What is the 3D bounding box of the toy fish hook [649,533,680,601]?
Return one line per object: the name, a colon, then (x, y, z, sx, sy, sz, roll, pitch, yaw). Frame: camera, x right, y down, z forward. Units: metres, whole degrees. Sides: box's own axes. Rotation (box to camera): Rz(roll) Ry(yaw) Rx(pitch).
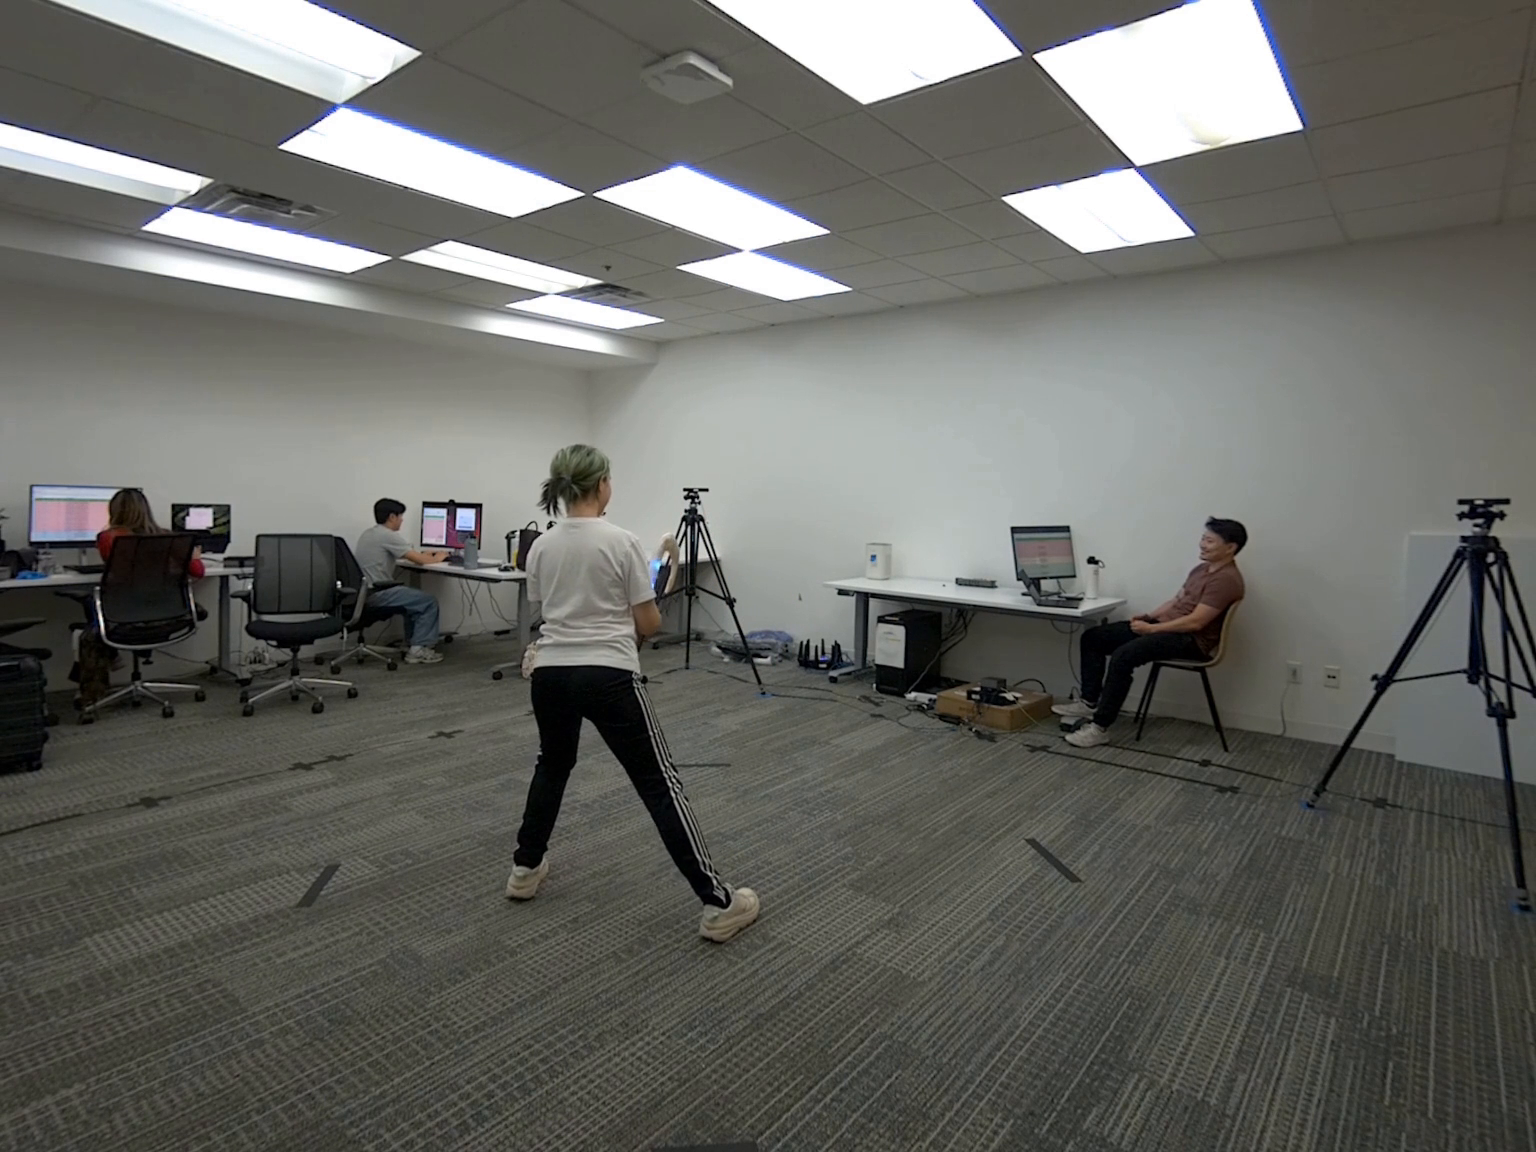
toy fish hook: (-0.445, 0.064, 3.262, 0.049, 0.513, 0.216, 5, -35, 23)
